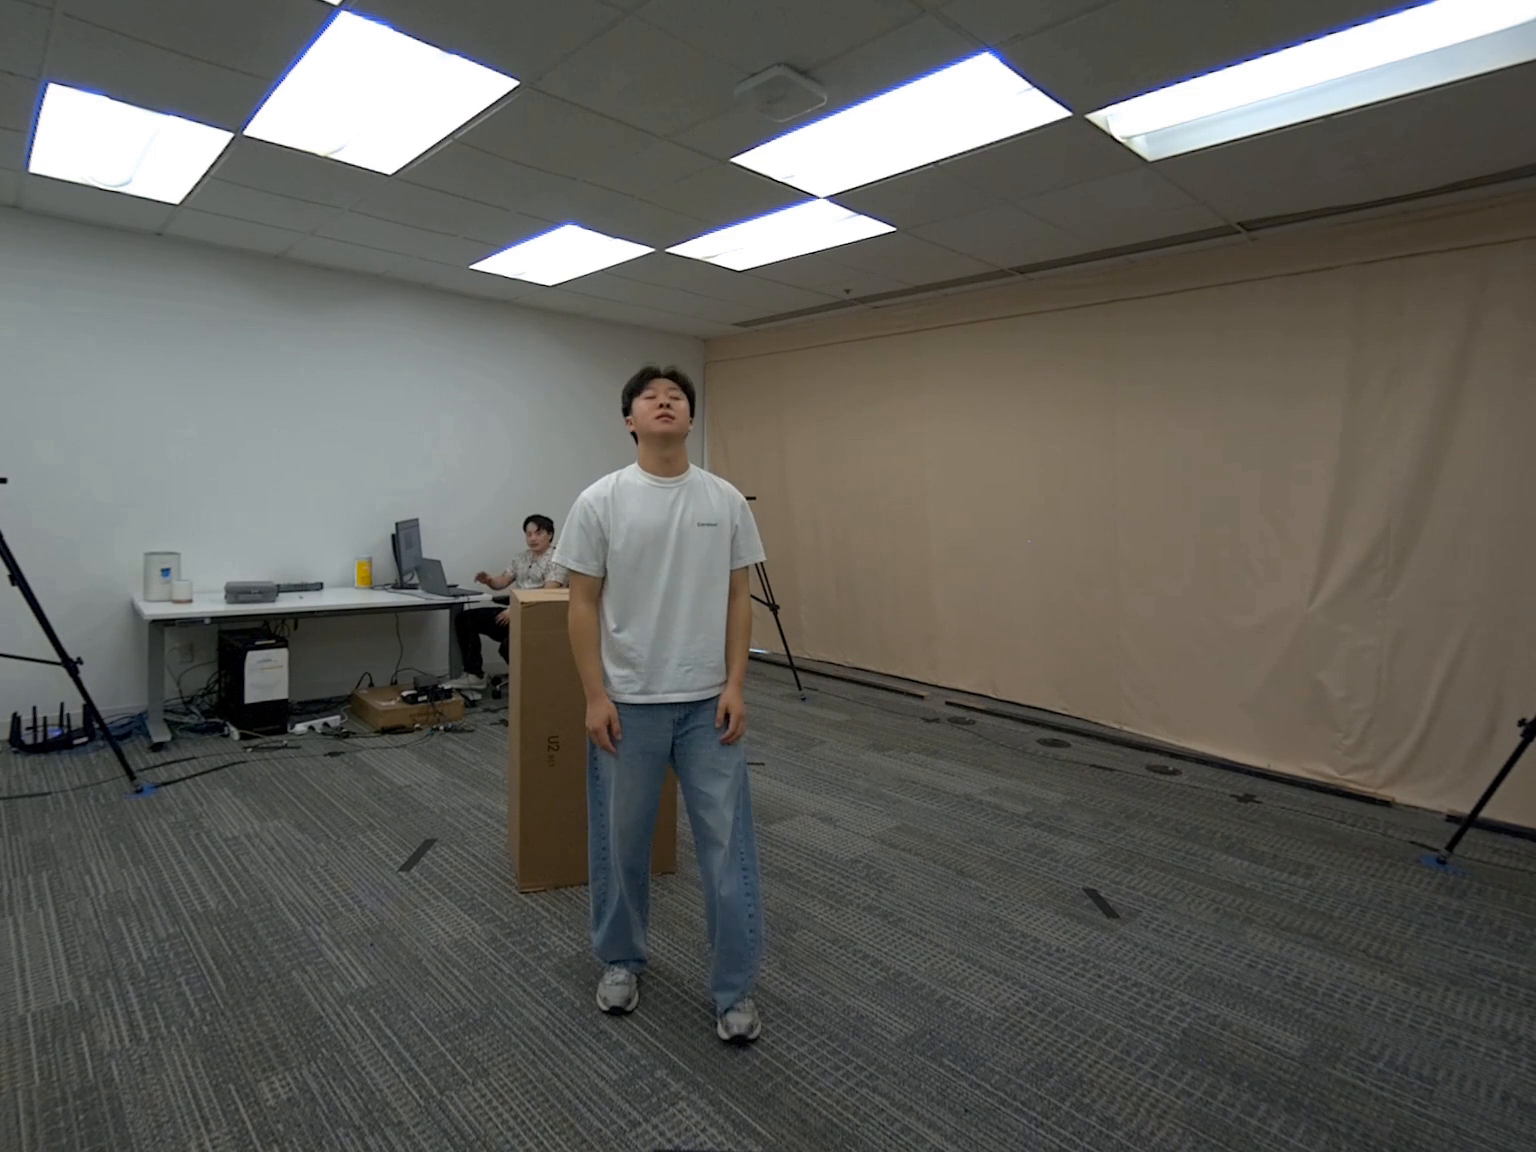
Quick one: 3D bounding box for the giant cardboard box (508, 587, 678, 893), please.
[{"bbox_3d":[-0.678,0.575,3.195,0.568,1.023,0.434,0,3,-22],"label":"giant cardboard box"}]
